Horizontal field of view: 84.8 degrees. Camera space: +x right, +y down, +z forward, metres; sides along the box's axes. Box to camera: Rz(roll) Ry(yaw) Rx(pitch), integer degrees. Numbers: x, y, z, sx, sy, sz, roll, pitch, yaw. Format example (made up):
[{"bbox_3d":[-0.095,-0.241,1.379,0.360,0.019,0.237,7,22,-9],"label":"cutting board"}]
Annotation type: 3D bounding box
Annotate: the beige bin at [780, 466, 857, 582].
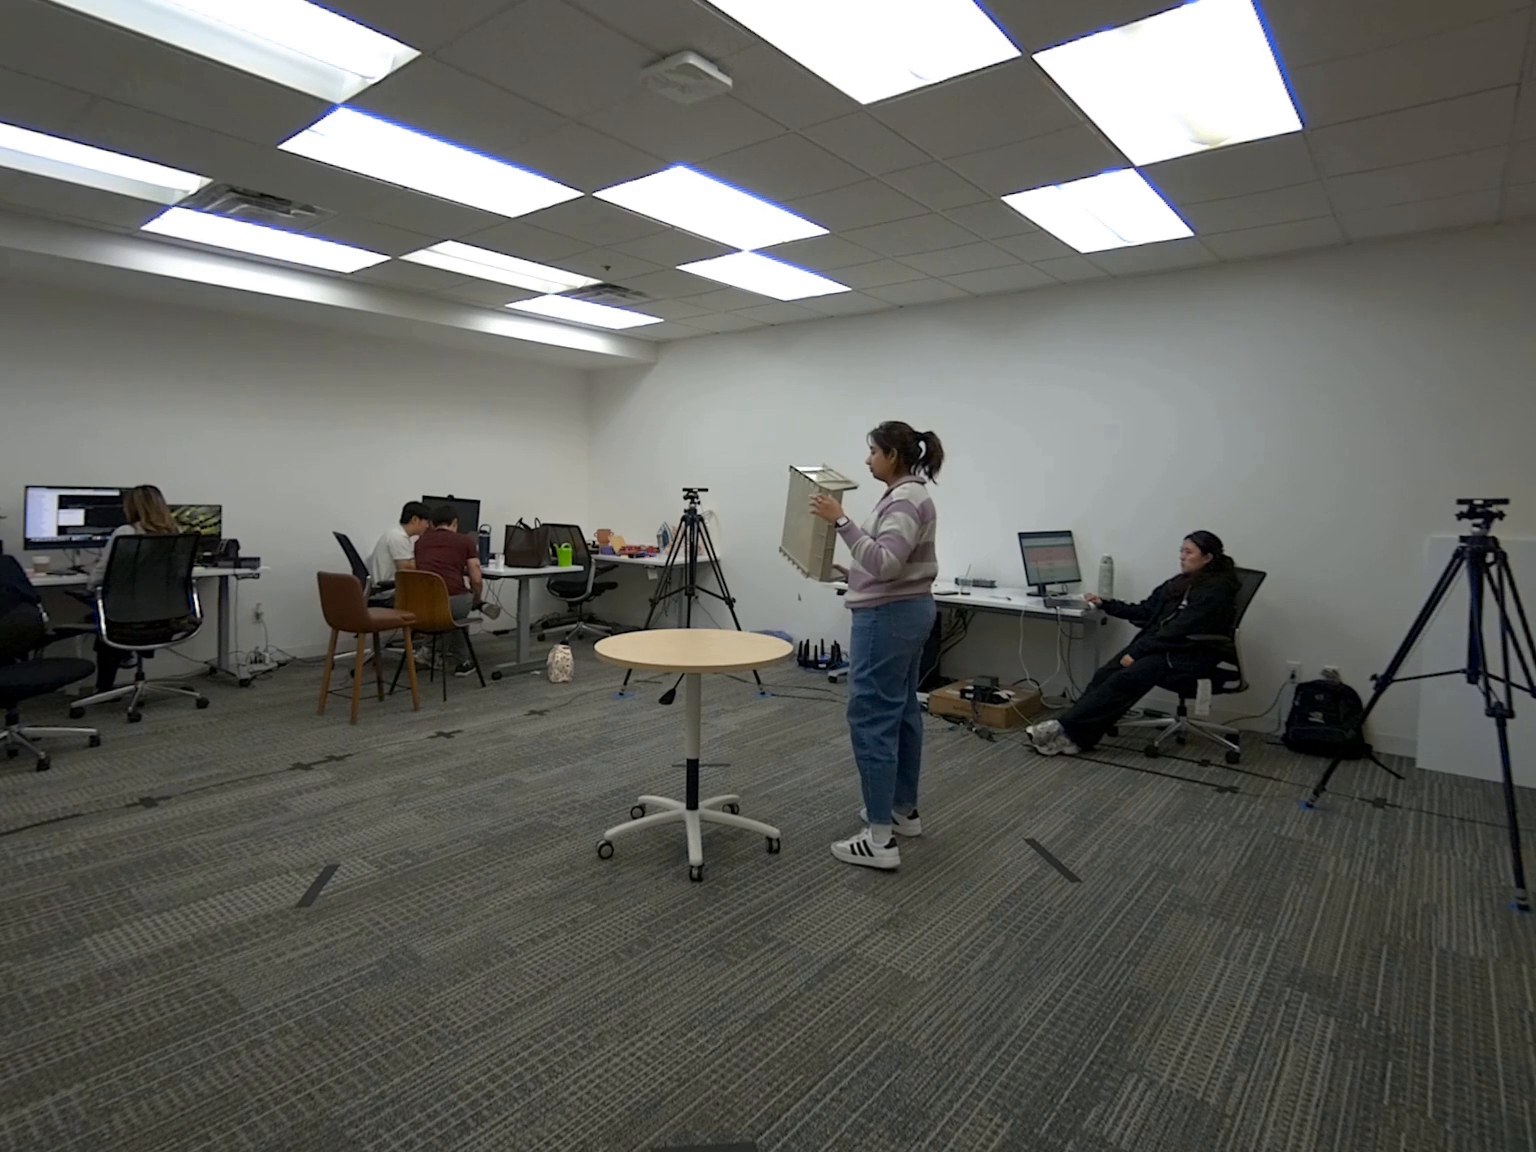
[{"bbox_3d":[0.209,-0.238,3.657,0.186,0.415,0.390,-2,22,-19],"label":"beige bin"}]
